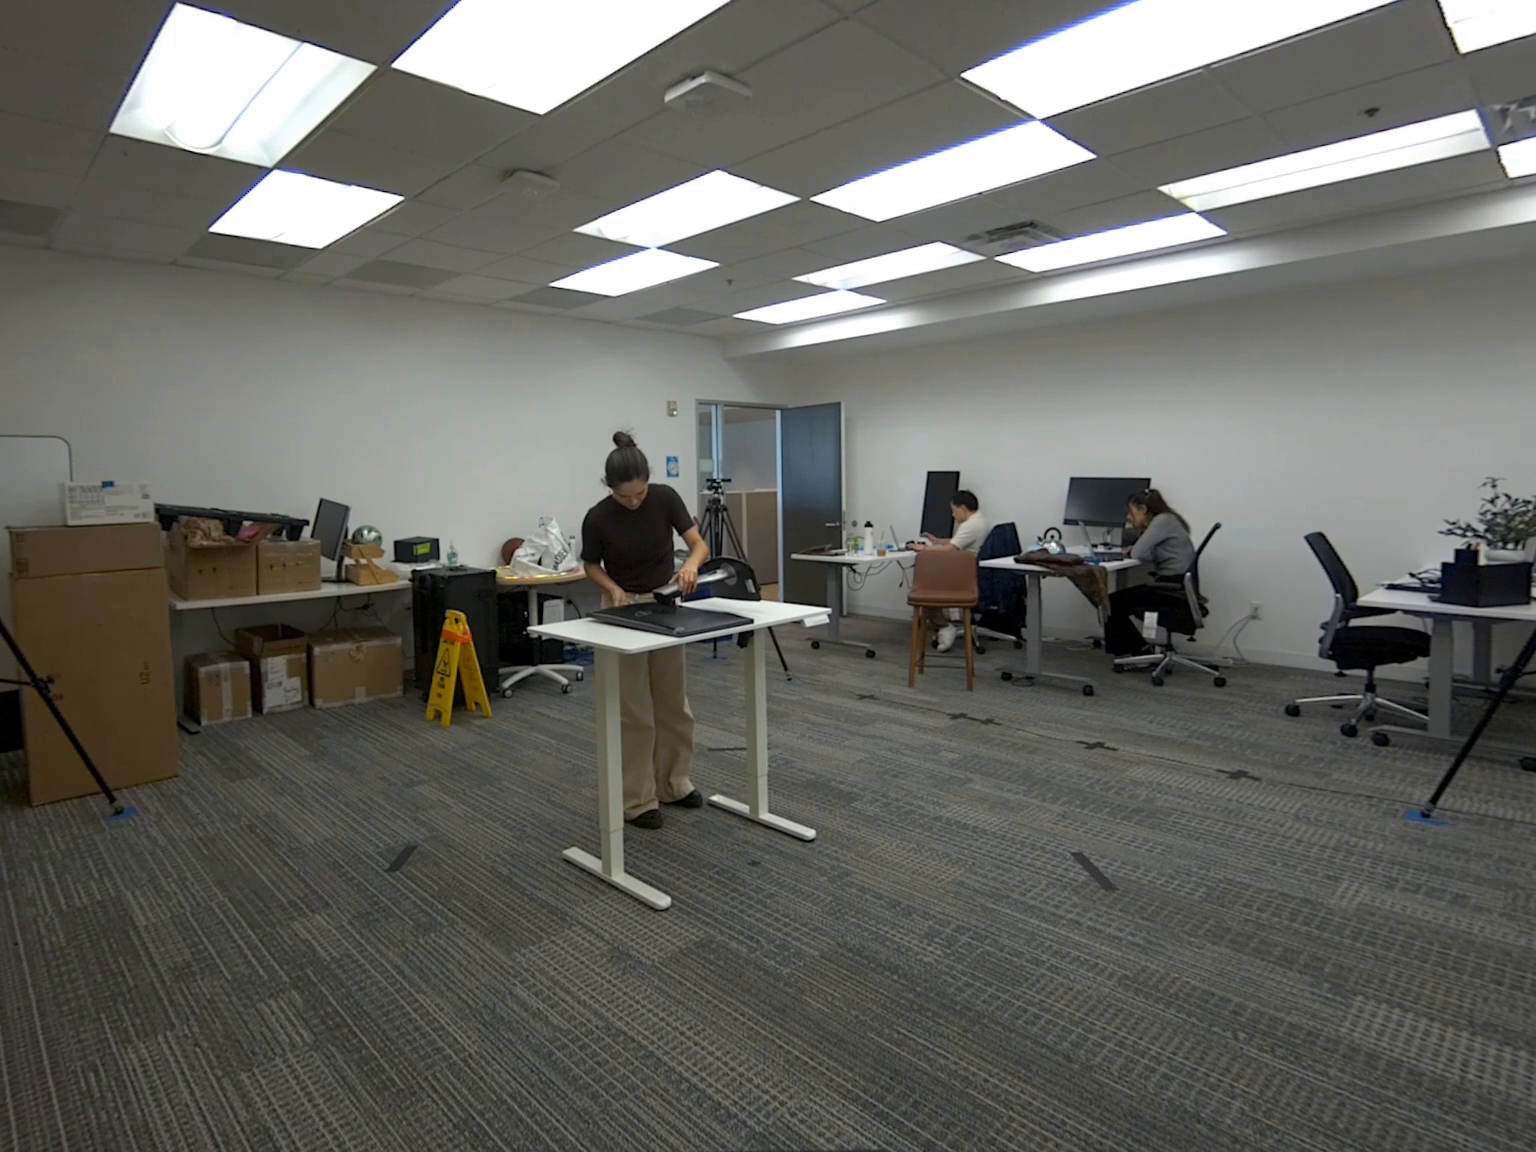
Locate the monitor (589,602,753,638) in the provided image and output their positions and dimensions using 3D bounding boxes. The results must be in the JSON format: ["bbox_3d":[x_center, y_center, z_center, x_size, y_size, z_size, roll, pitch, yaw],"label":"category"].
[{"bbox_3d":[-0.298,0.099,3.146,0.555,0.184,0.515,4,23,46],"label":"monitor"}]
